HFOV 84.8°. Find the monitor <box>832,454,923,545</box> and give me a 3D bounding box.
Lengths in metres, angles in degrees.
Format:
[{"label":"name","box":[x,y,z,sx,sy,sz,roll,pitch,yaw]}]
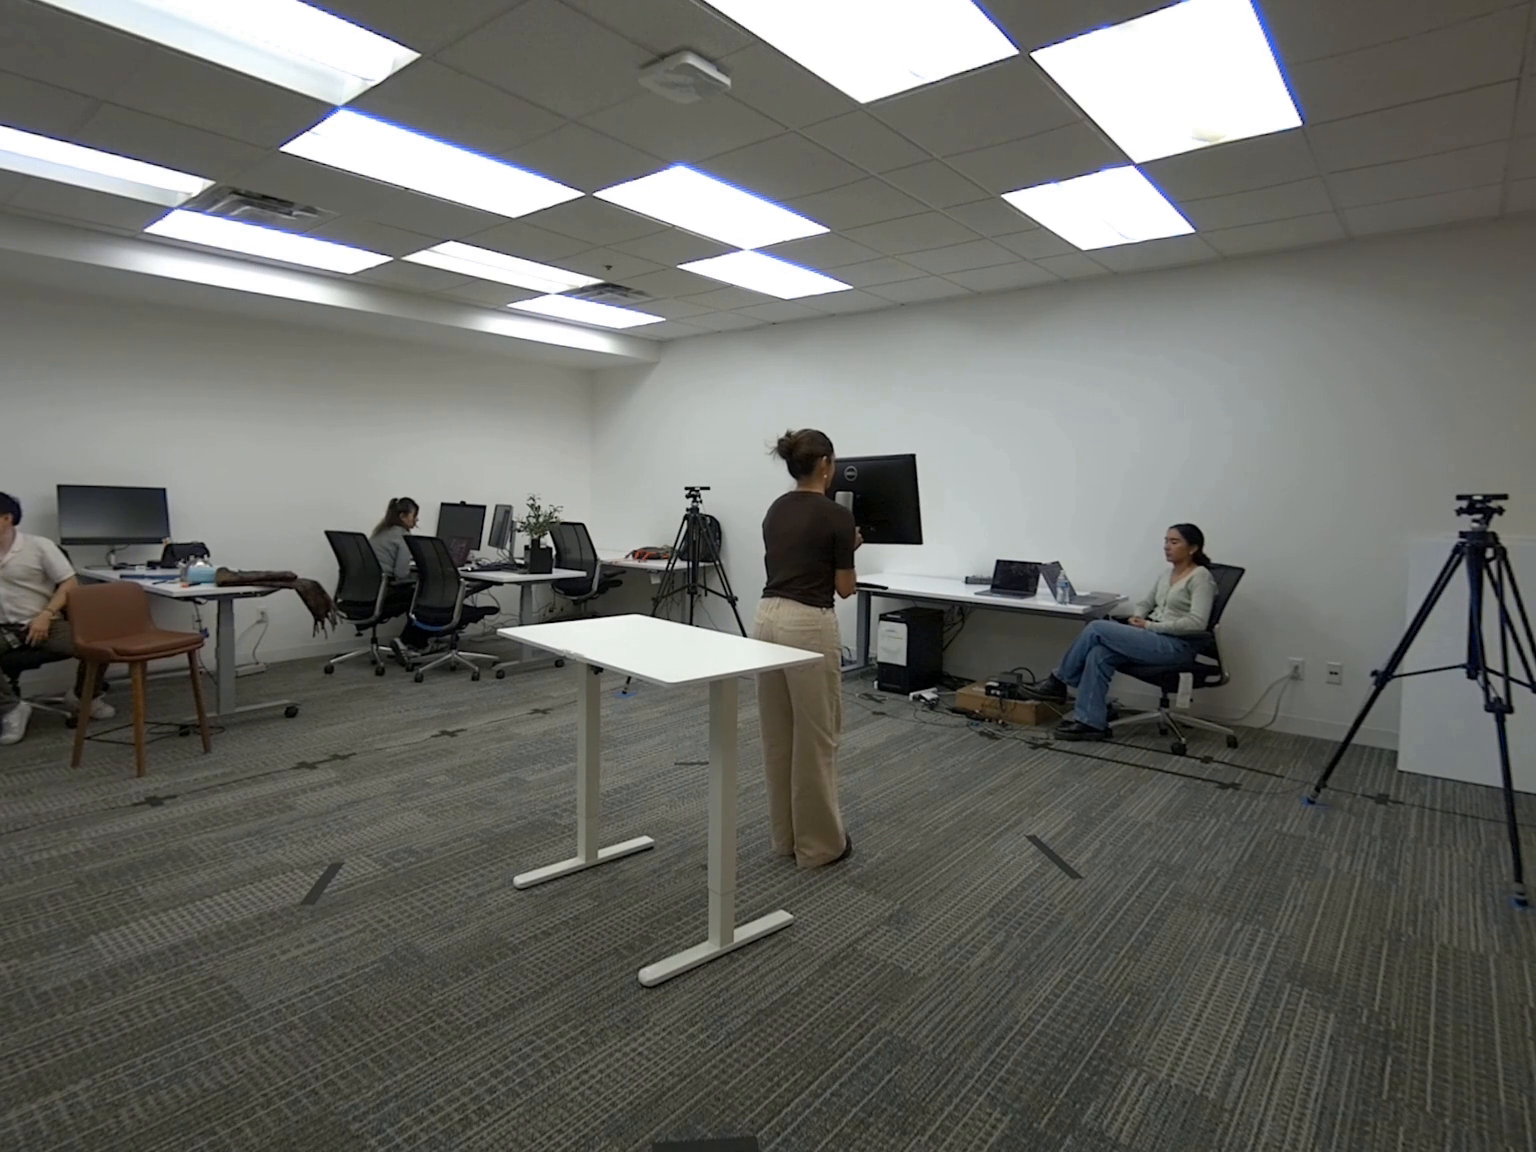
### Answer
[{"label":"monitor","box":[0.328,-0.214,3.382,0.556,0.523,0.181,2,-1,37]}]
